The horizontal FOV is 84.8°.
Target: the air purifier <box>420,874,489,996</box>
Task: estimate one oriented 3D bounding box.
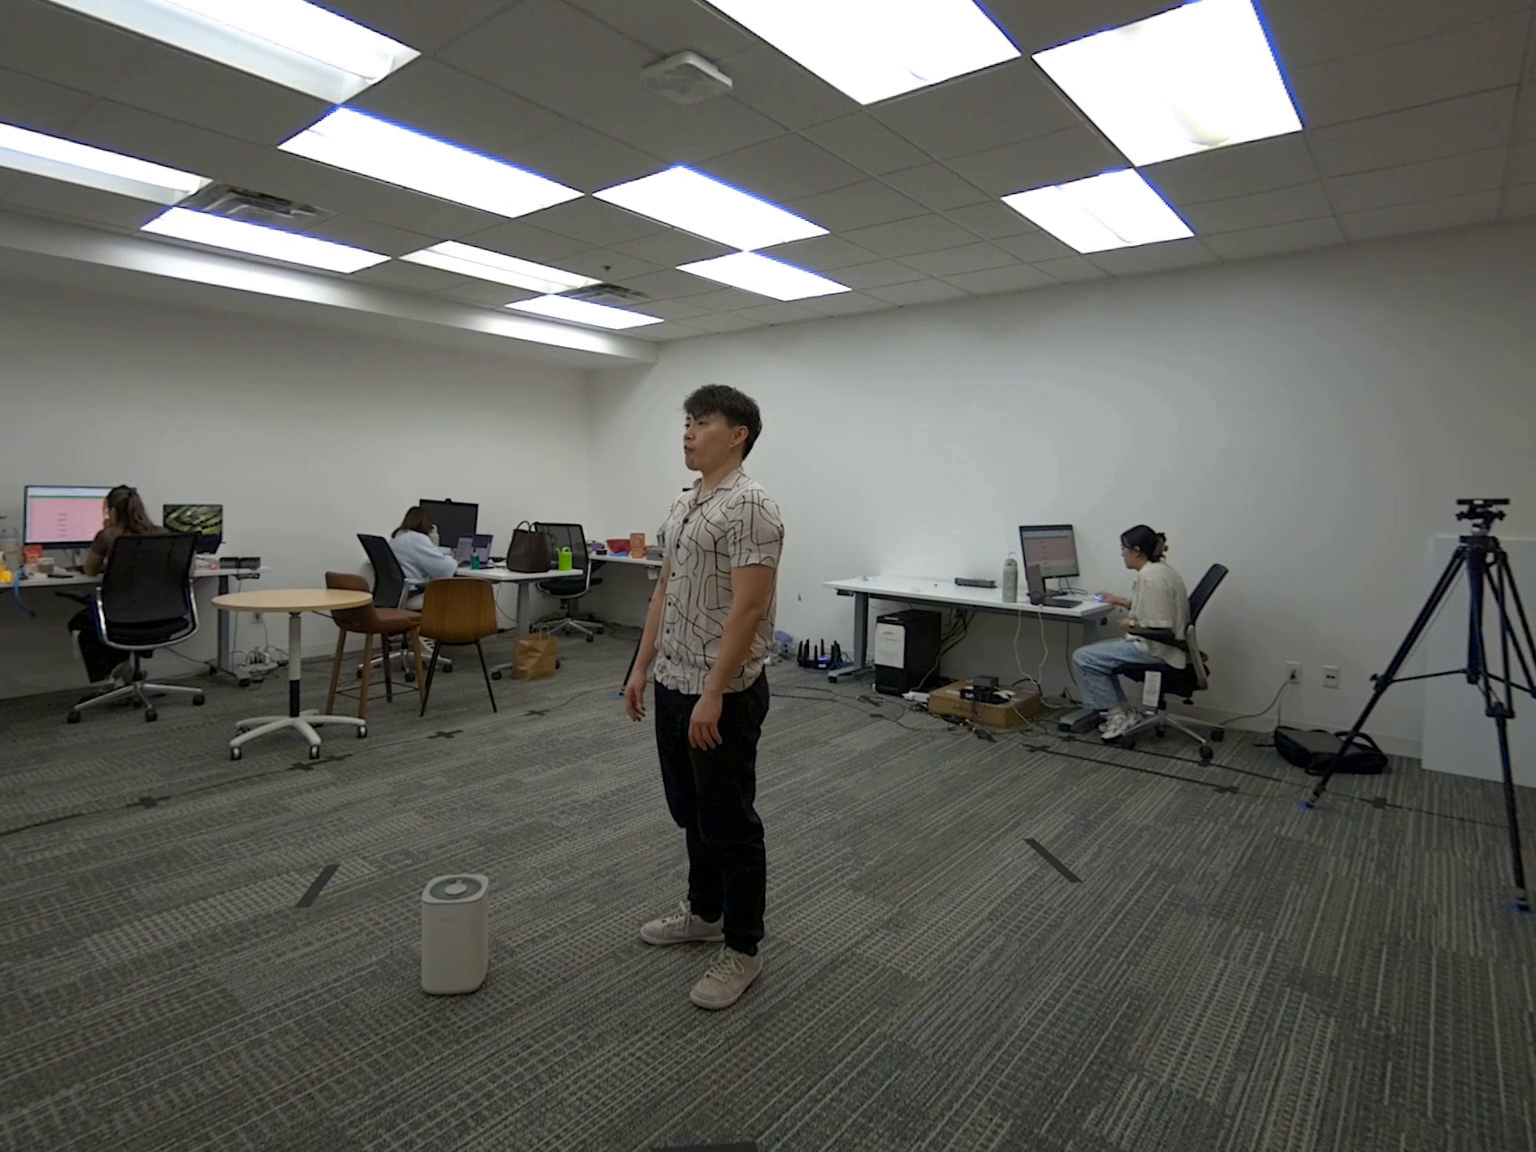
[{"bbox_3d":[-0.888,1.001,2.373,0.170,0.264,0.173,0,3,-10],"label":"air purifier"}]
